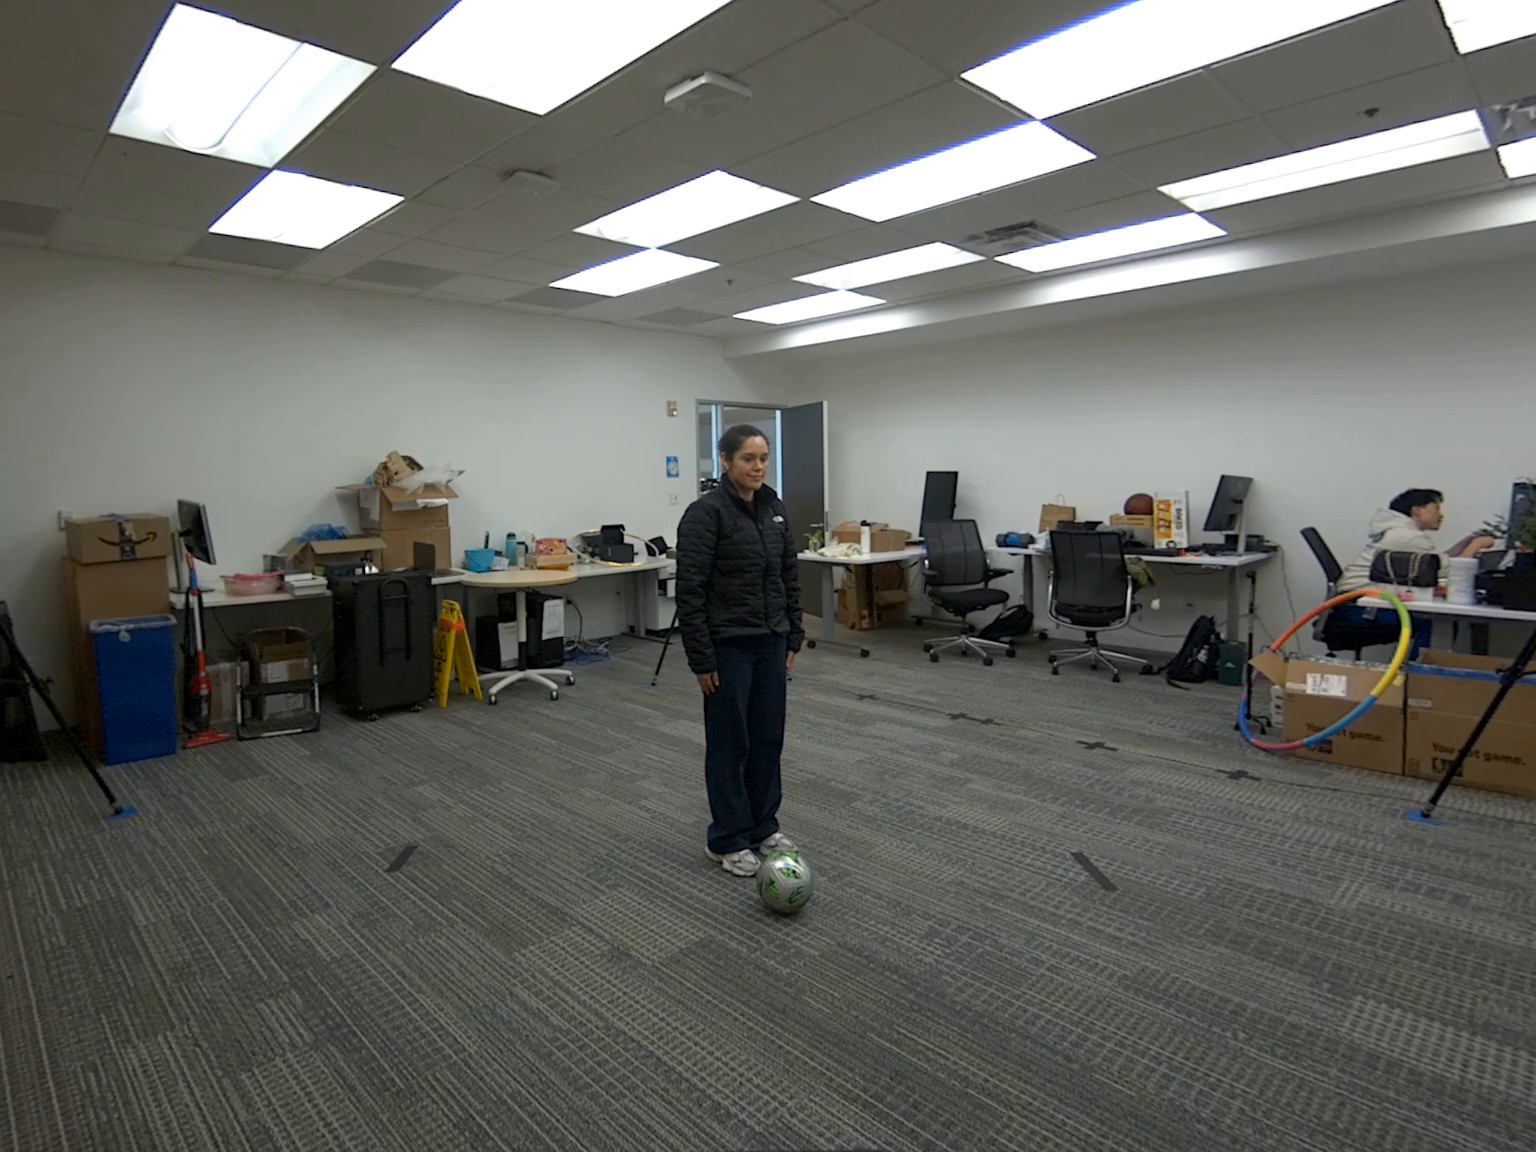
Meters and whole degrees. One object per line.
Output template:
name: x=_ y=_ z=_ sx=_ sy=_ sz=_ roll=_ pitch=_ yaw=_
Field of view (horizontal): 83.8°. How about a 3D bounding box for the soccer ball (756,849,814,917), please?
soccer ball: x=0.056 y=0.991 z=2.767 sx=0.187 sy=0.187 sz=0.188 roll=-1 pitch=5 yaw=-2
